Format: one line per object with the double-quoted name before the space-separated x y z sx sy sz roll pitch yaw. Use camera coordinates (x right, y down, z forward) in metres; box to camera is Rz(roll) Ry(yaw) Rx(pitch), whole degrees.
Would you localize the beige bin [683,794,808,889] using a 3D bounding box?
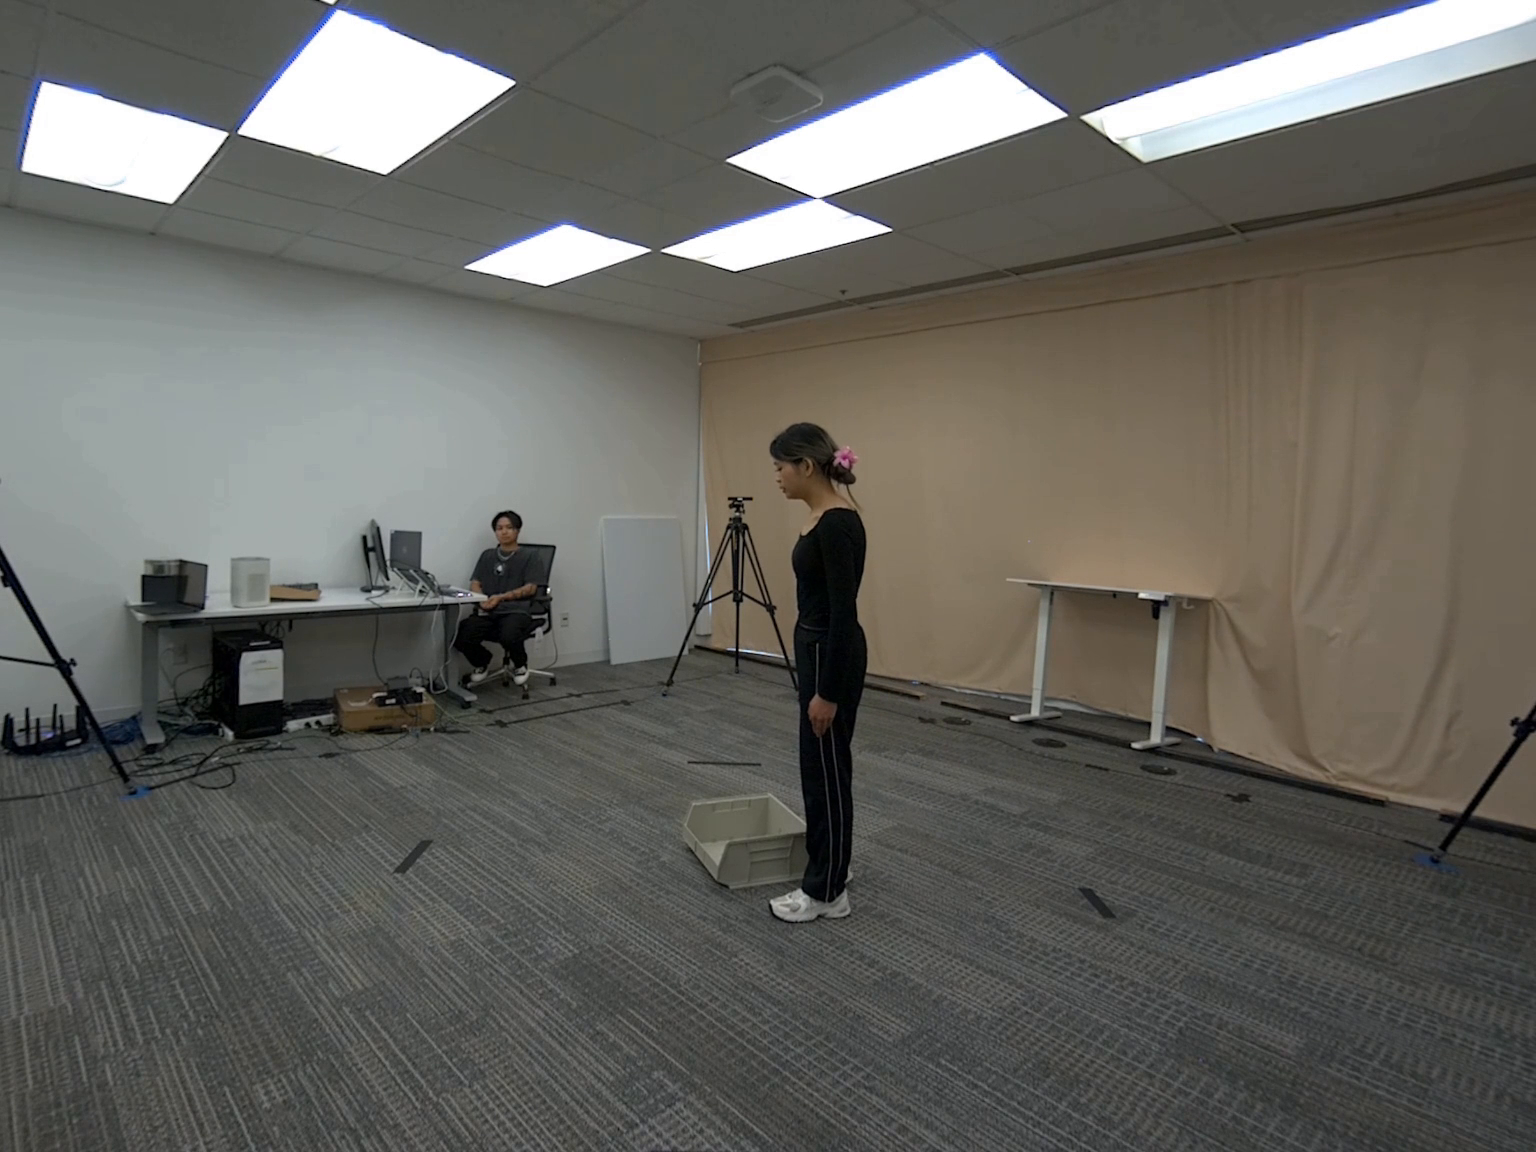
"beige bin" -0.095 1.010 3.228 0.371 0.188 0.430 0 4 -22
